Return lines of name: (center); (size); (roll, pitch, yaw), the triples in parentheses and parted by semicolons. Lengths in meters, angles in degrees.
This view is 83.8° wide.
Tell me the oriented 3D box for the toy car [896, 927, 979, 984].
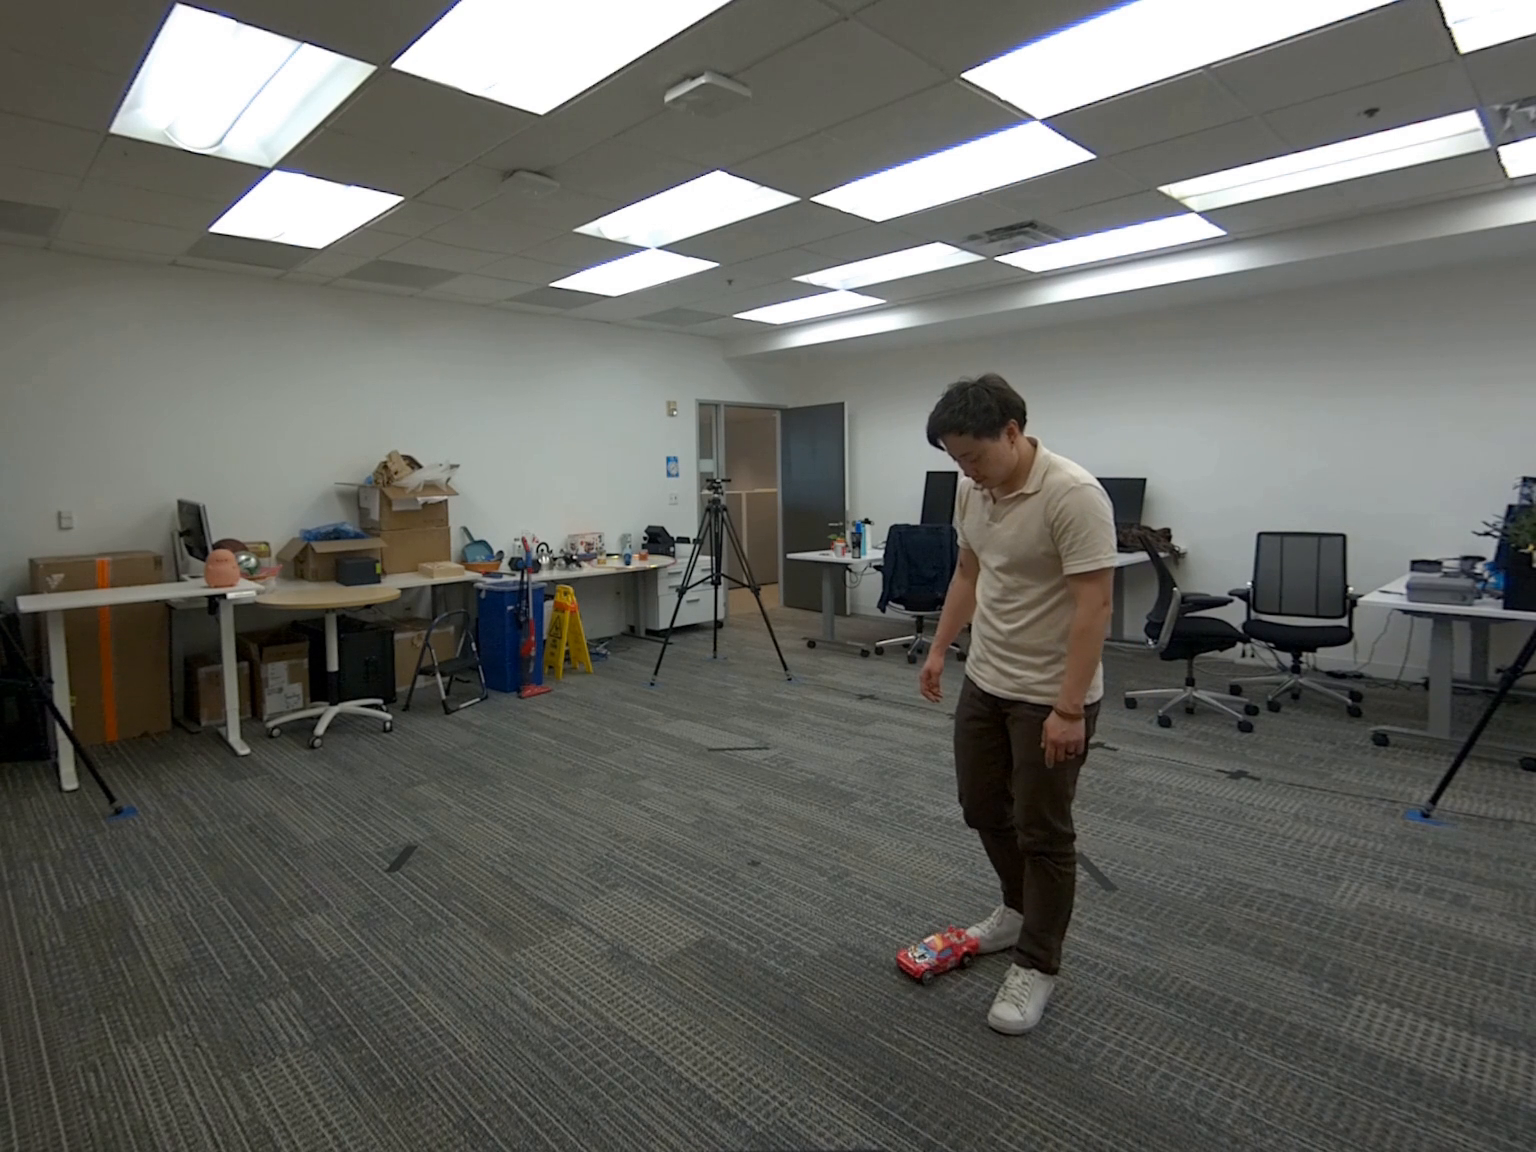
toy car: (0.494, 1.083, 2.428); (0.250, 0.082, 0.134); (-17, 13, -29)
